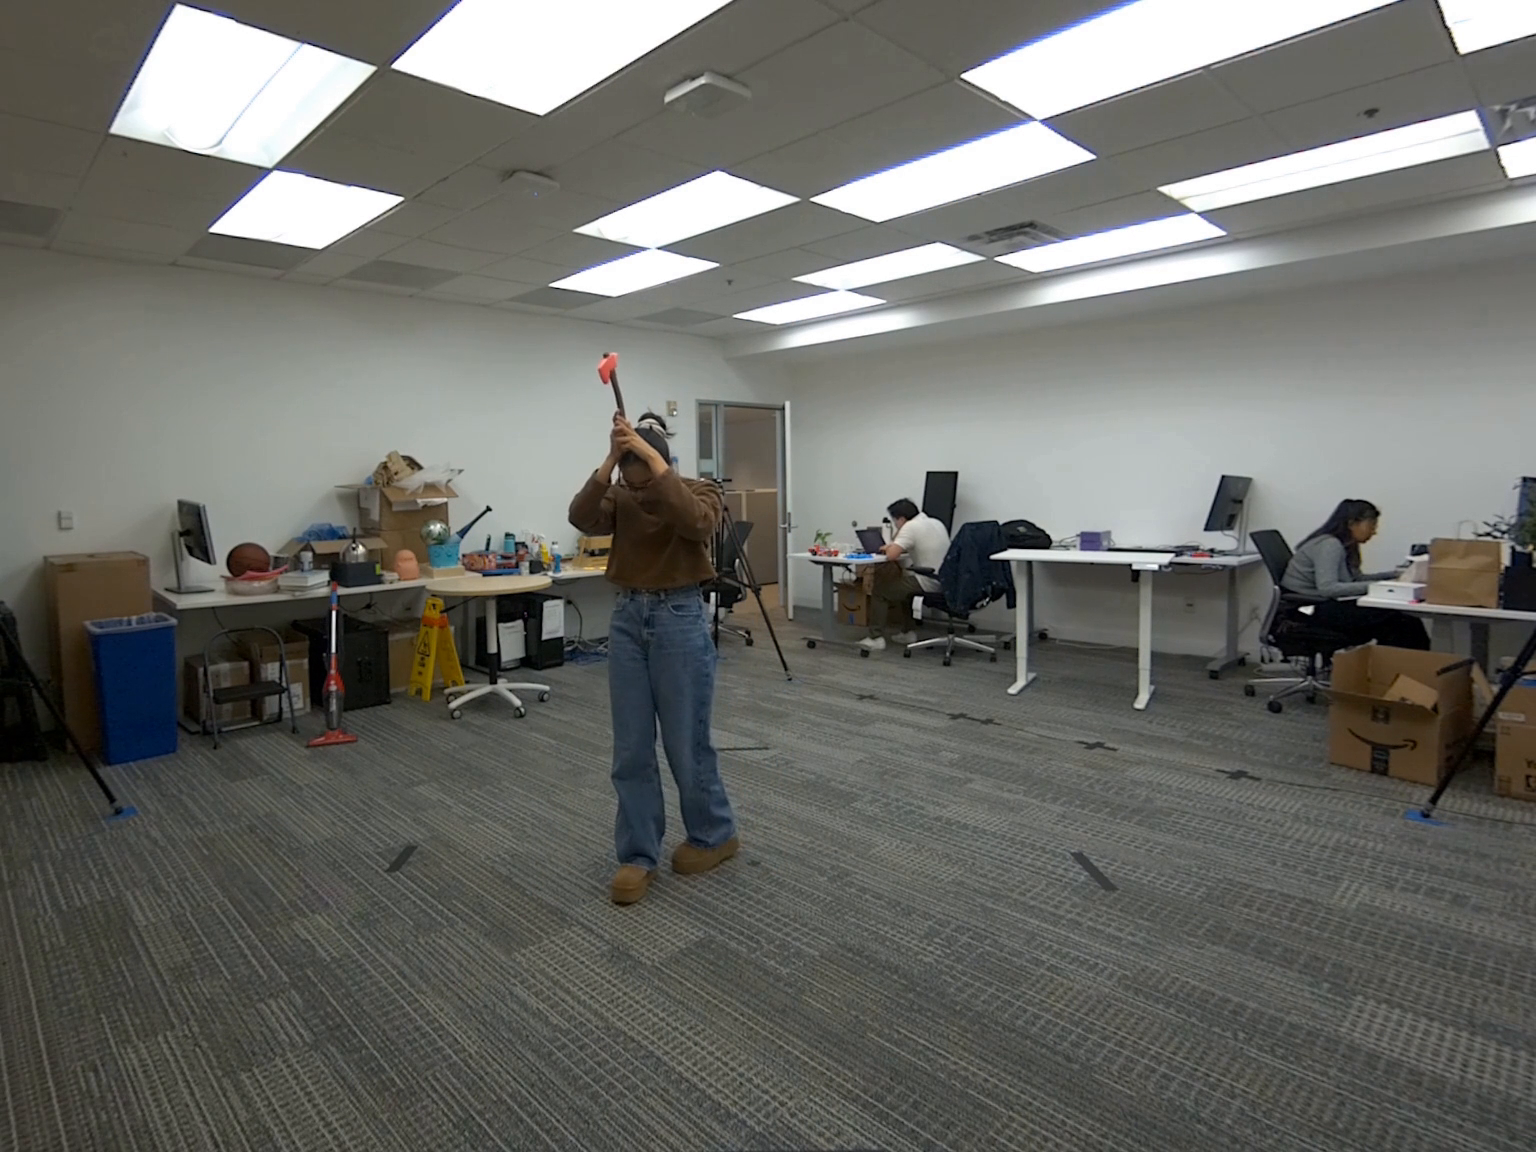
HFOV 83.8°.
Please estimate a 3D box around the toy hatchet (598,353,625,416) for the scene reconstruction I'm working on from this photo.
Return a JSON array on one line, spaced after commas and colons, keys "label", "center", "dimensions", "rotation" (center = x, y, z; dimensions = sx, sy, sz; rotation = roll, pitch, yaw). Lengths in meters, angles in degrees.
[{"label": "toy hatchet", "center": [-0.472, -0.558, 2.637], "dimensions": [0.030, 0.267, 0.130], "rotation": [-3, 13, 16]}]
